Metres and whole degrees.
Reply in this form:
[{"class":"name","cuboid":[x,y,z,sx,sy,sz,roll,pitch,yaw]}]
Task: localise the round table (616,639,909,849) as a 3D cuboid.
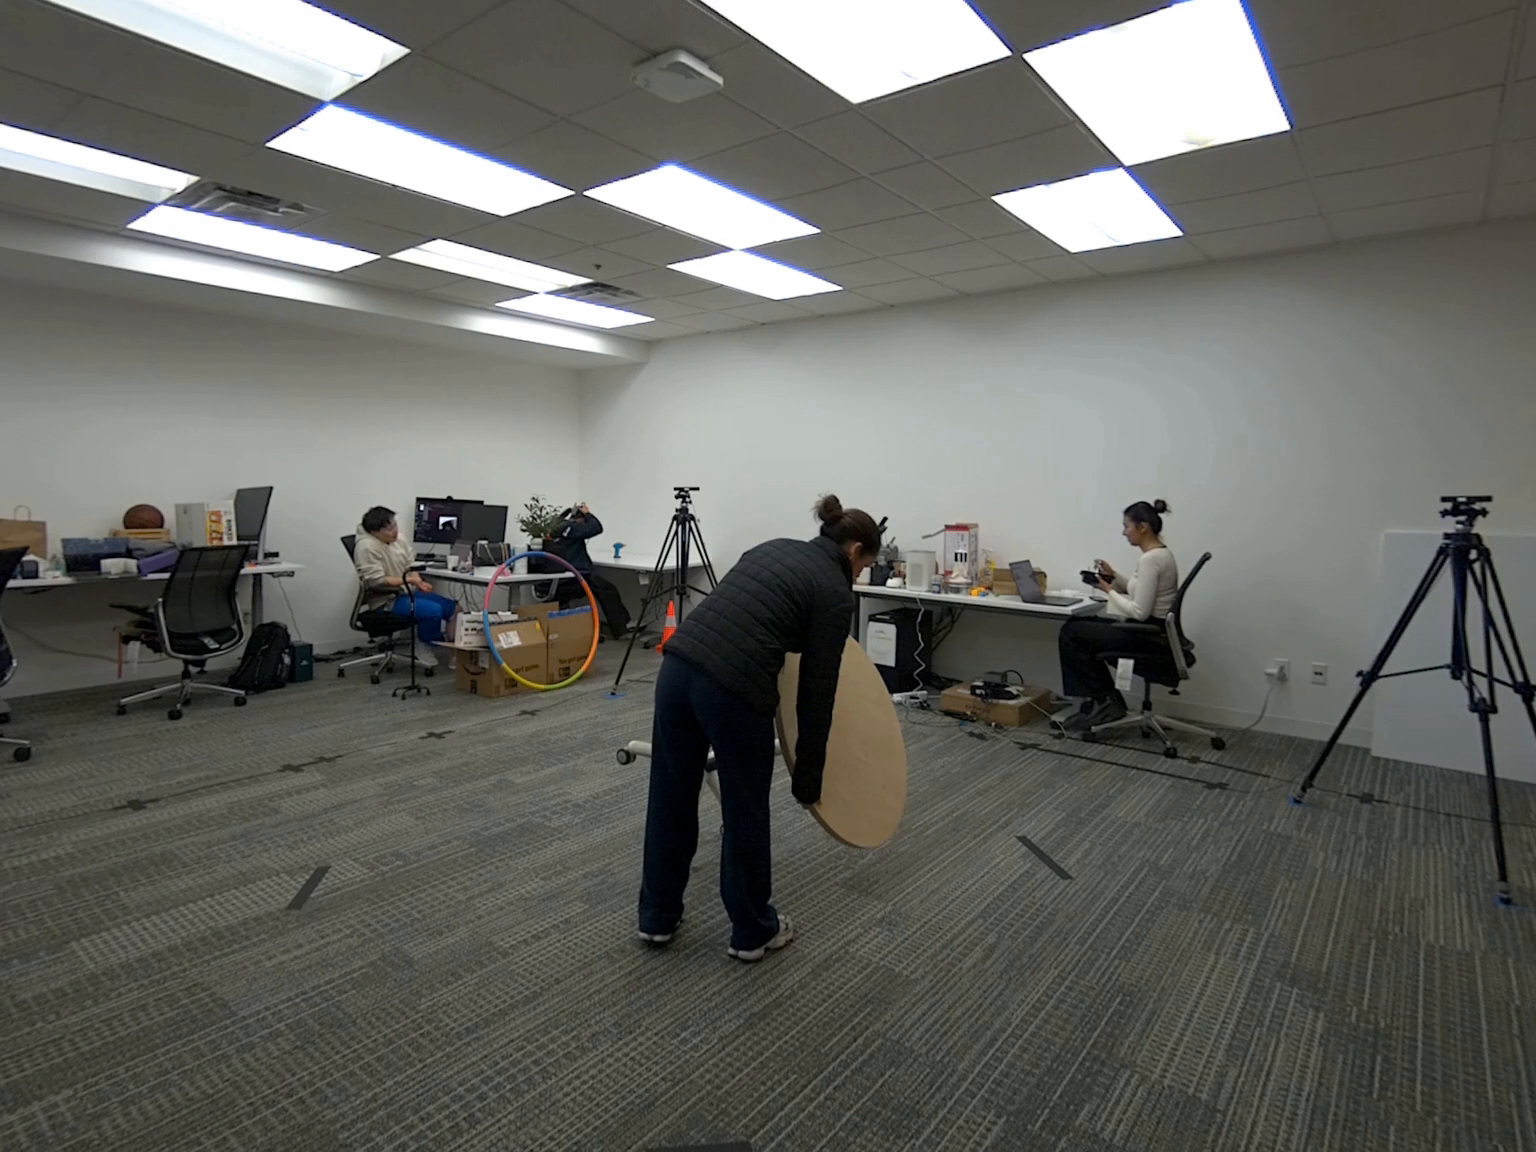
[{"class":"round table","cuboid":[-0.026,0.632,3.132,0.799,0.795,0.763,-23,-10,33]}]
